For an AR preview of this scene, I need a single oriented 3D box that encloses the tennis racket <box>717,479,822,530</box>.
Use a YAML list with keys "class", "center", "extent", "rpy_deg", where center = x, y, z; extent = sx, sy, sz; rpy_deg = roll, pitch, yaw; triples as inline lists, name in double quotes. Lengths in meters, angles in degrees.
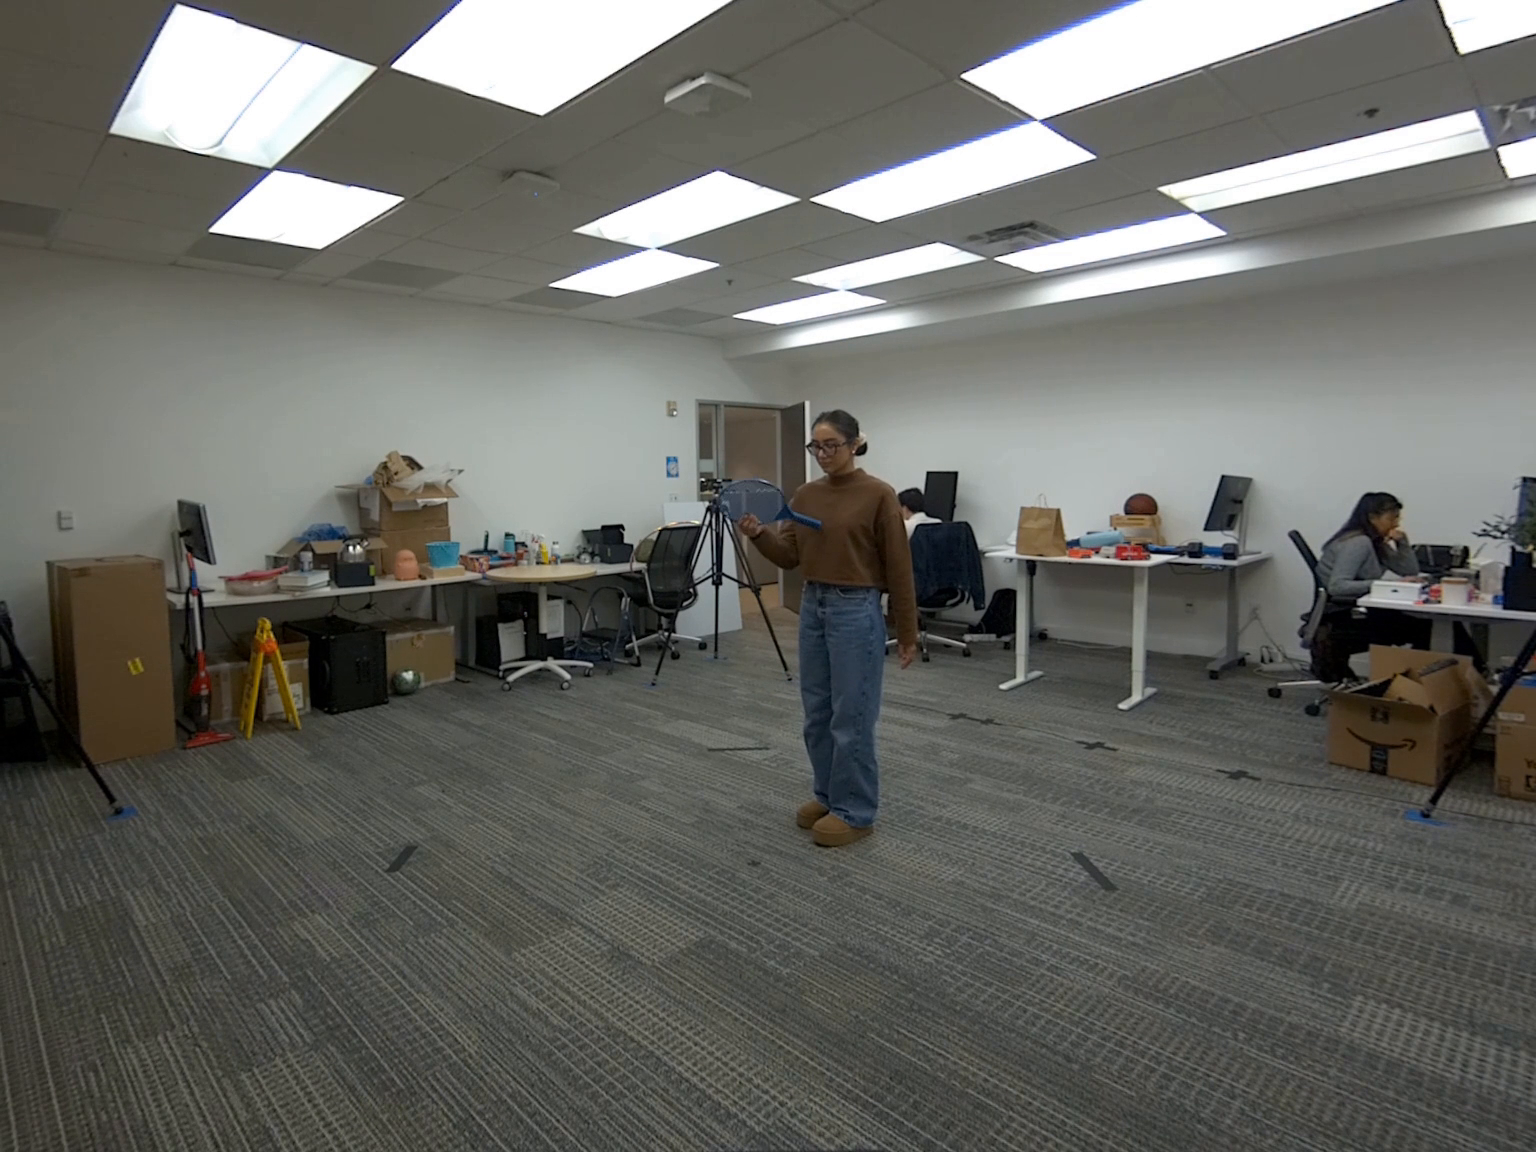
- class: "tennis racket"
  center: [0.021, -0.249, 3.136]
  extent: [0.421, 0.213, 0.033]
  rpy_deg: [20, 38, -25]
